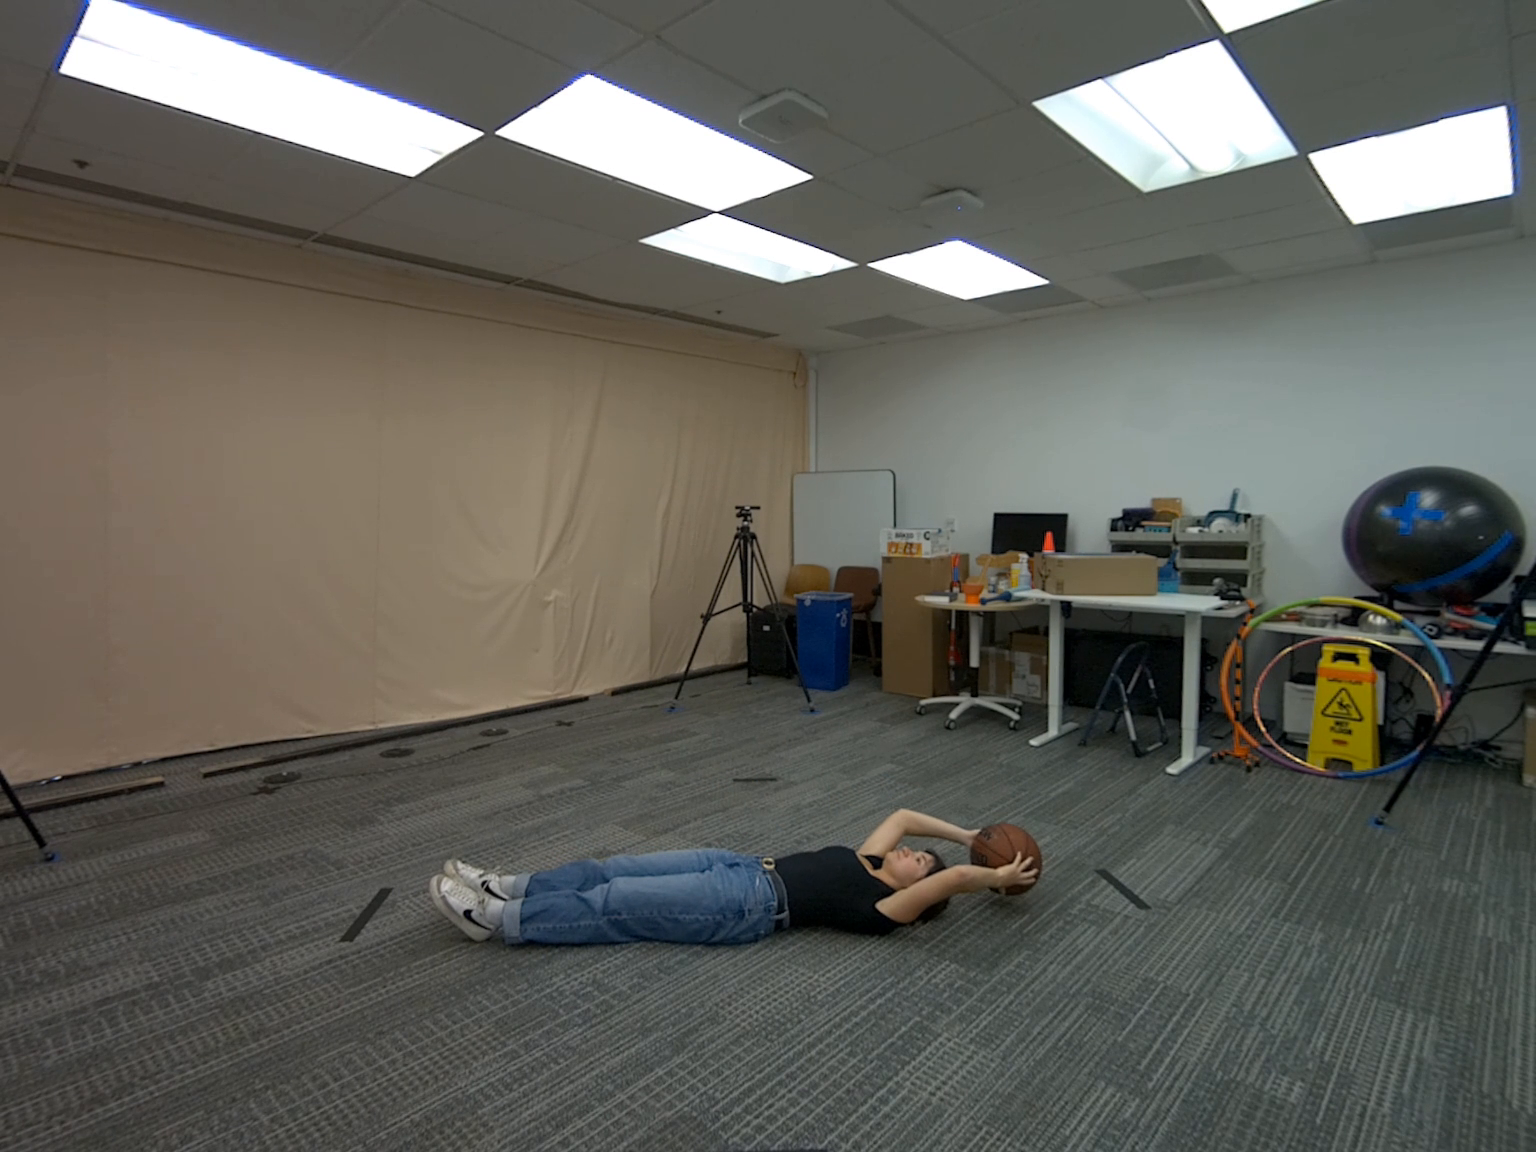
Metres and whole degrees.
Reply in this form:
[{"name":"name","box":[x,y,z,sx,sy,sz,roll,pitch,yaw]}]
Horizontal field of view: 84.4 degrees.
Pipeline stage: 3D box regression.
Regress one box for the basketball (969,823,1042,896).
[{"name":"basketball","box":[0.832,0.976,2.928,0.236,0.235,0.237,0,4,-2]}]
